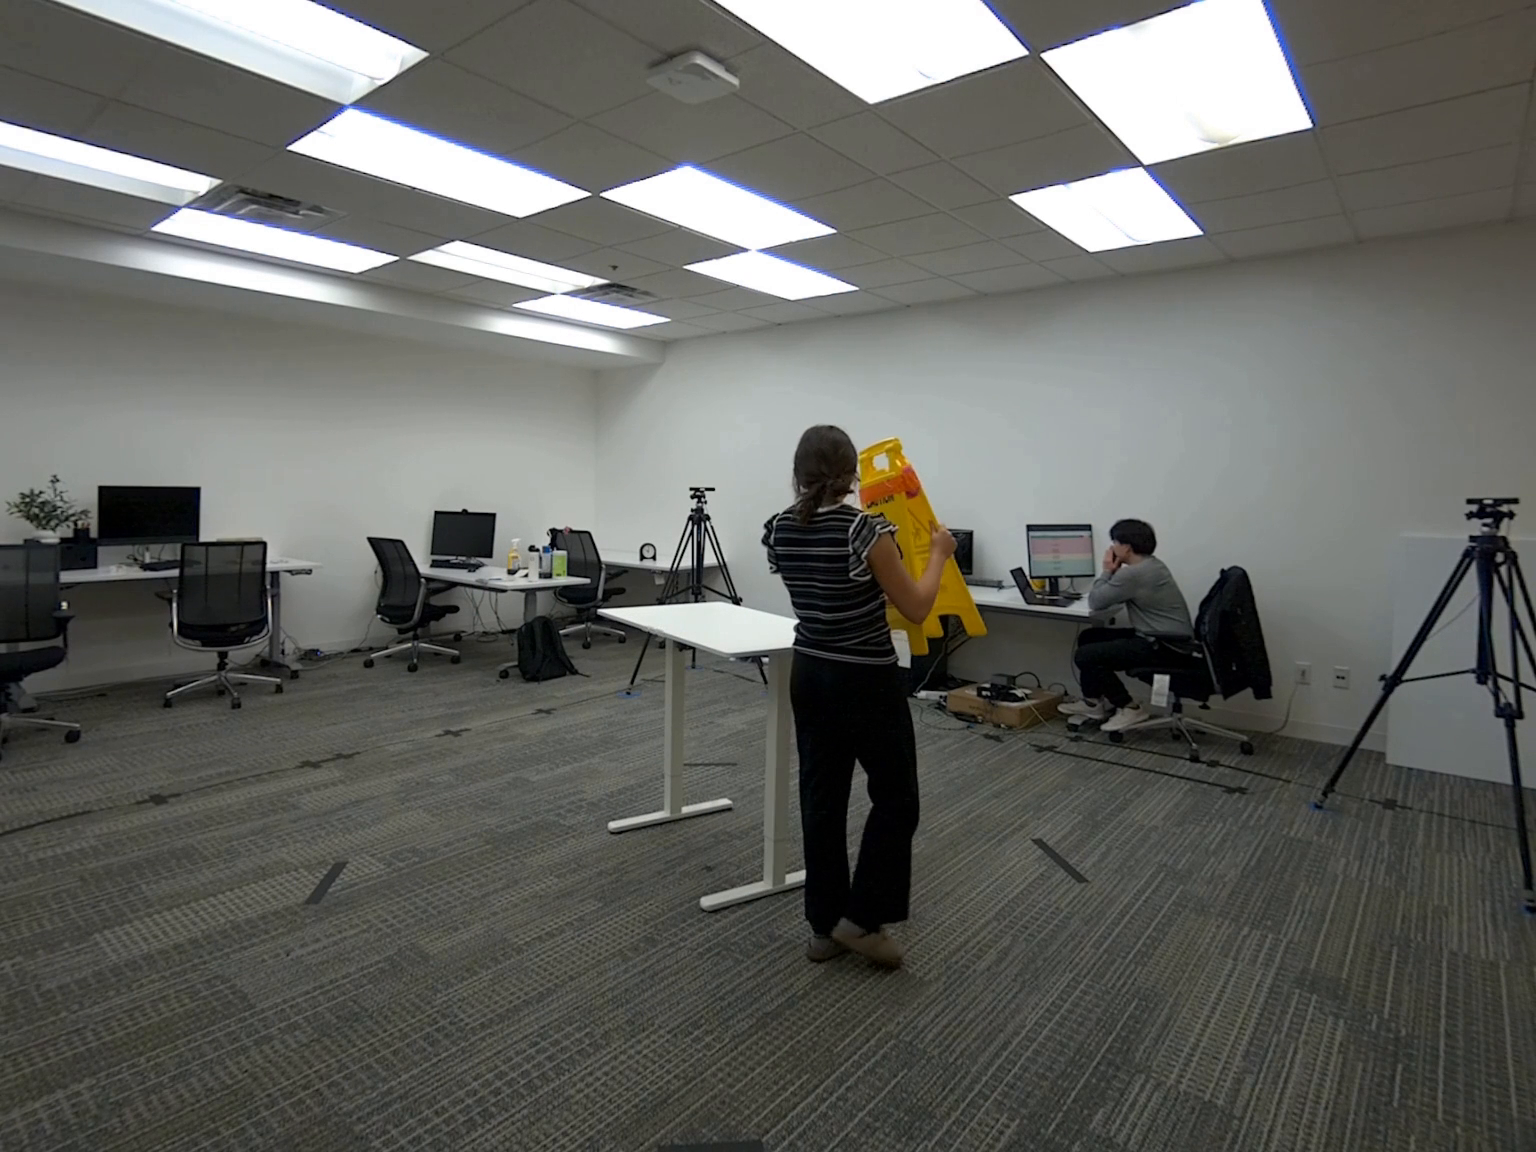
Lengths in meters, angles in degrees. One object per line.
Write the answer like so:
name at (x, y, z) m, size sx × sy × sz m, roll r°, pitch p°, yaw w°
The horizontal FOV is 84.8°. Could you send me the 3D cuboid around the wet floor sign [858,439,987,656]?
wet floor sign at (0.403, -0.098, 2.656) m, size 0.284 × 0.650 × 0.286 m, roll -12°, pitch -5°, yaw -27°
